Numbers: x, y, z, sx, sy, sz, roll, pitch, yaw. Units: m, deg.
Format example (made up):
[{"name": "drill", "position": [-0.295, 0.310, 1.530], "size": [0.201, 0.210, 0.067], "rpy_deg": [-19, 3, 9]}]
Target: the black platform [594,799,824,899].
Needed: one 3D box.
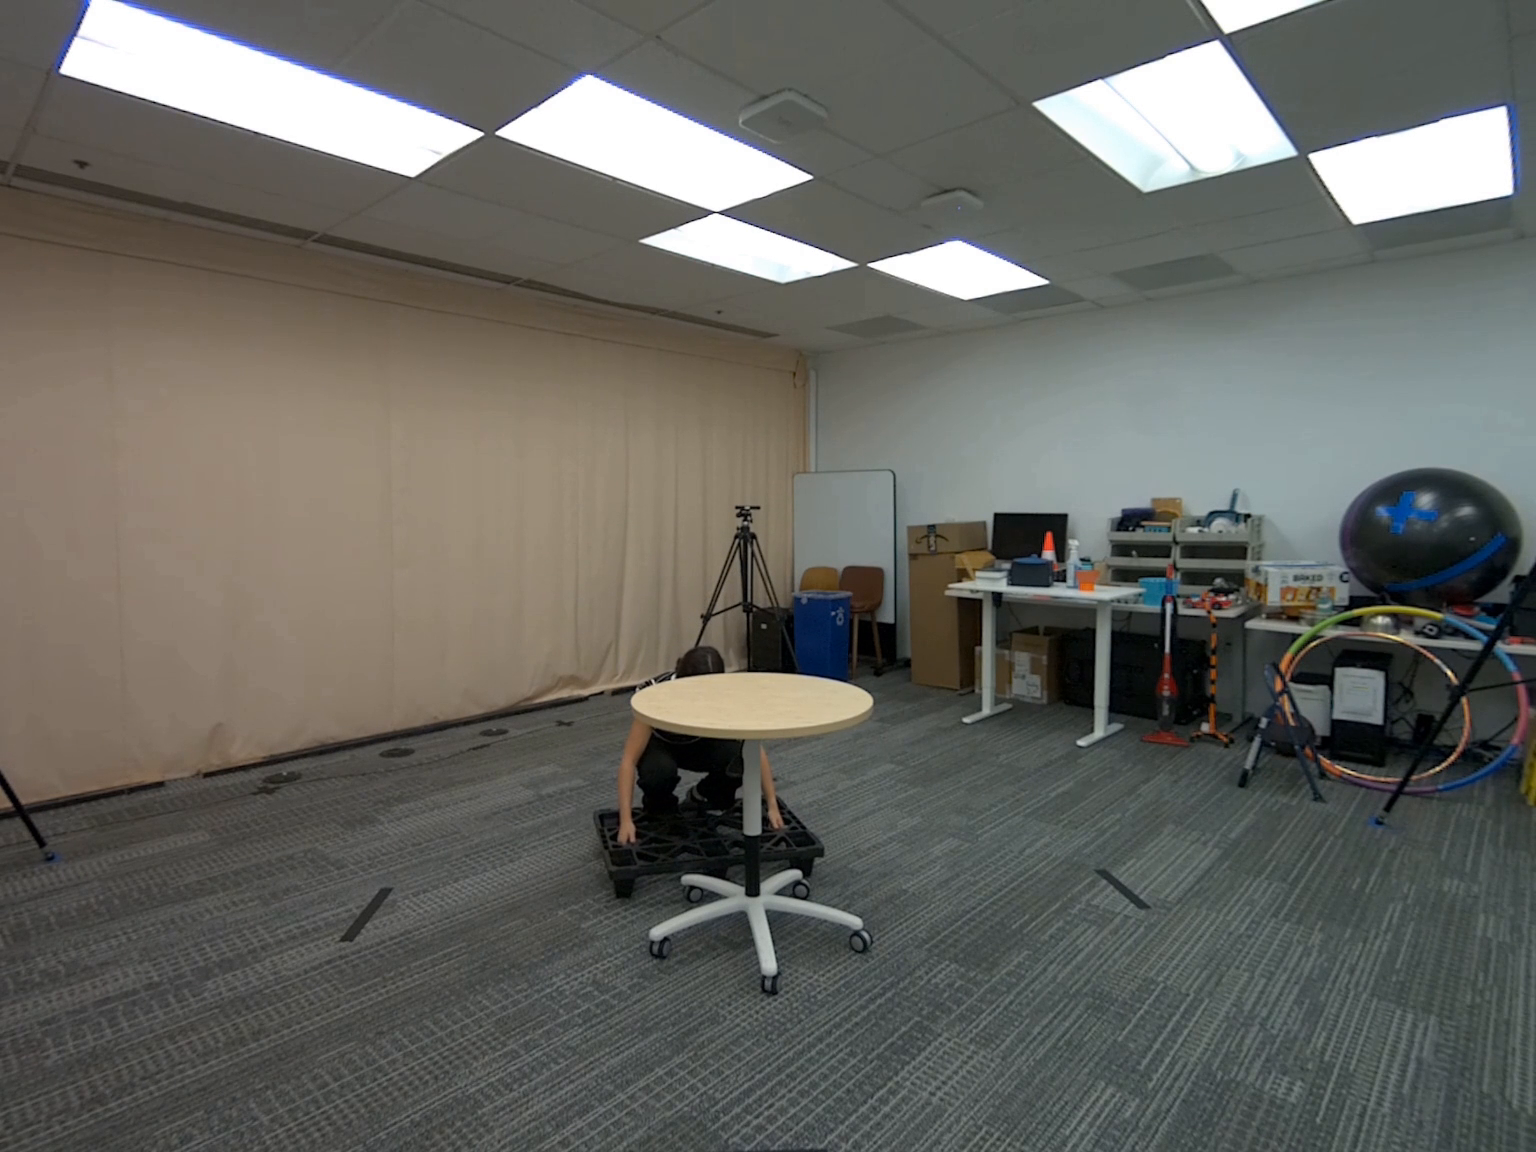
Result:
[{"name": "black platform", "position": [-0.250, 1.046, 3.292], "size": [0.794, 0.143, 0.616], "rpy_deg": [-2, 6, -15]}]
